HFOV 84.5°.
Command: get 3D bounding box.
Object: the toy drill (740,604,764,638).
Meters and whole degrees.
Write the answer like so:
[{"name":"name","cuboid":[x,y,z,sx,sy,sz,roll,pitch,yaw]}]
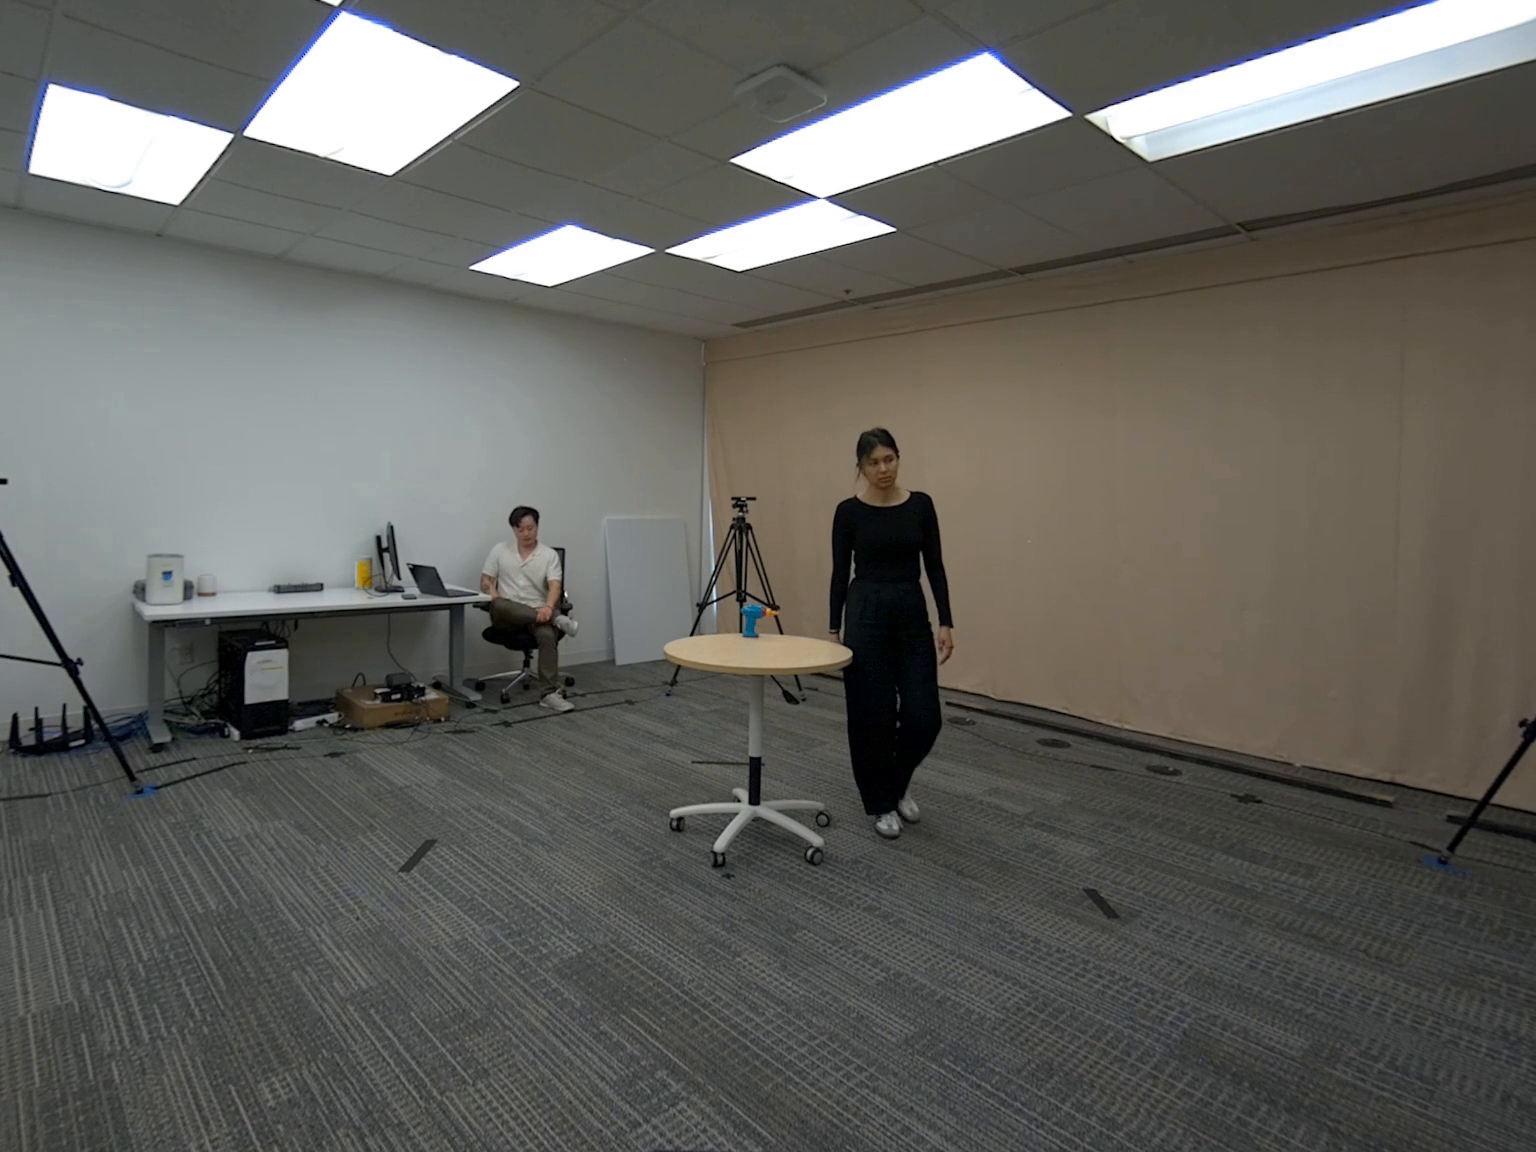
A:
[{"name":"toy drill","cuboid":[-0.039,0.198,3.721,0.171,0.145,0.061,2,4,6]}]
